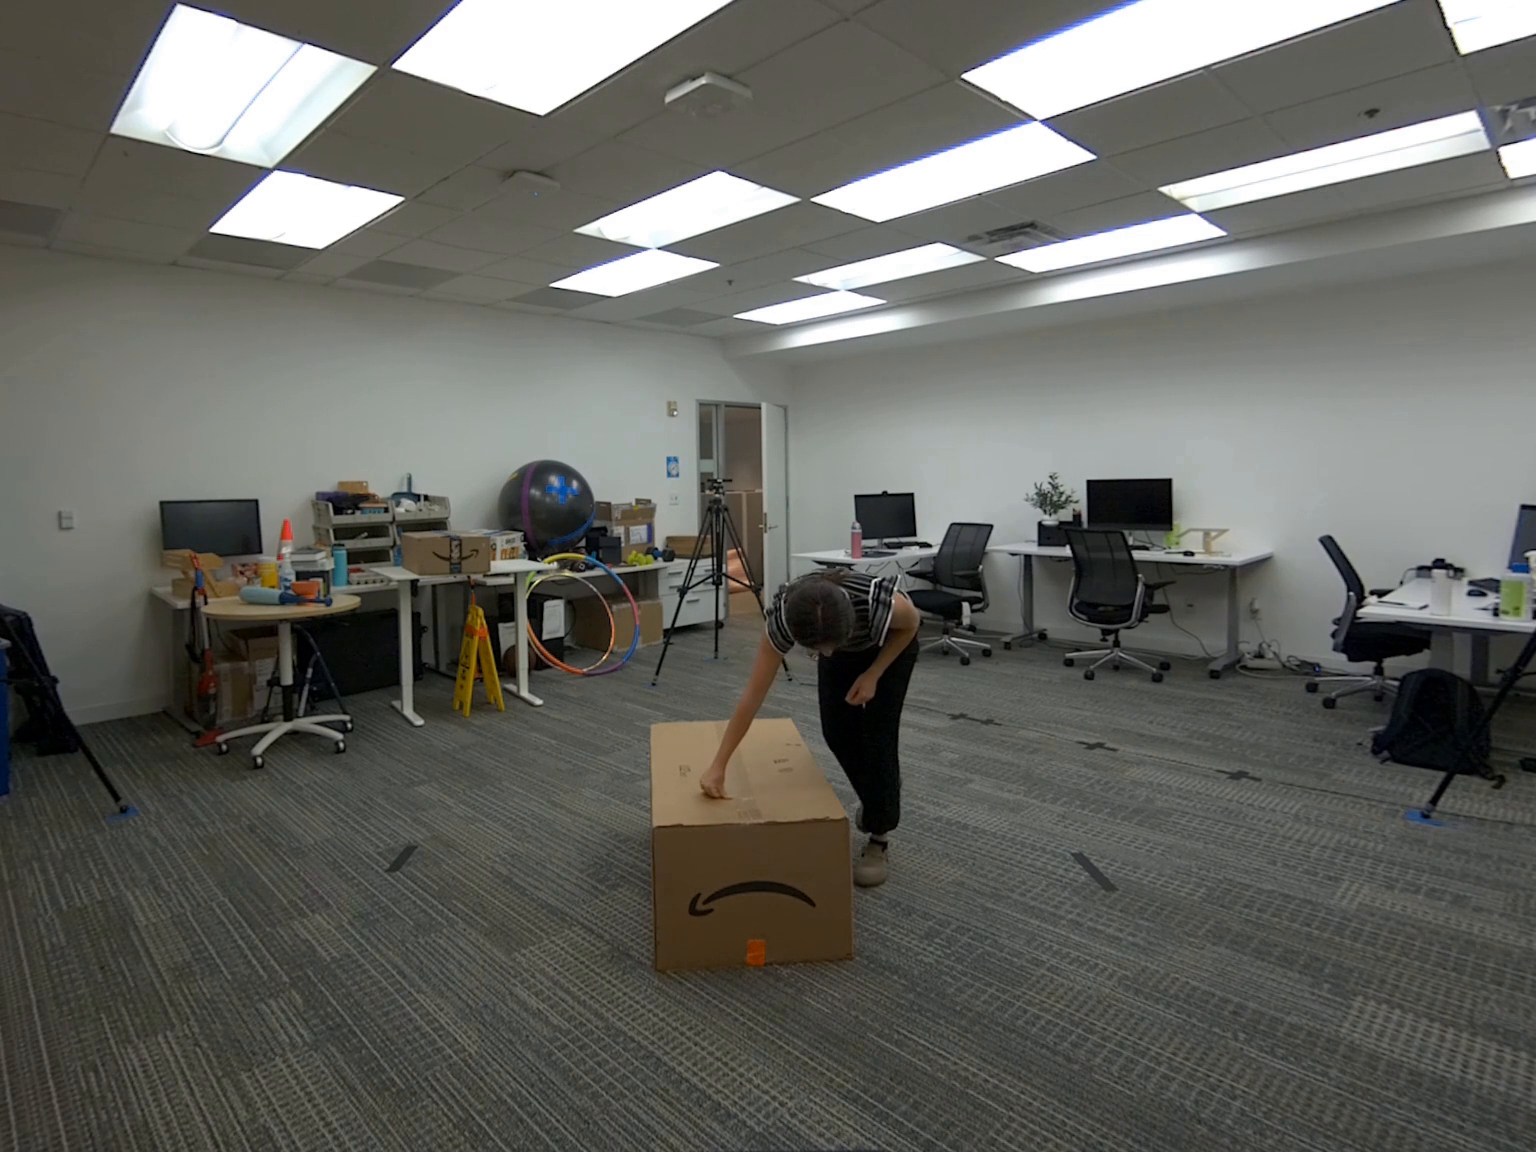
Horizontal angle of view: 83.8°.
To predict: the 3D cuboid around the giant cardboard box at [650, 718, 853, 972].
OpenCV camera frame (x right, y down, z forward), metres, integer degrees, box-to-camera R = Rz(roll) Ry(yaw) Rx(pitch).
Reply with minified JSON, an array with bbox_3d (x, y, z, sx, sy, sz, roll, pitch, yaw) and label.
[{"bbox_3d":[-0.112,0.856,2.947,0.574,0.424,1.037,-1,6,-7],"label":"giant cardboard box"}]
